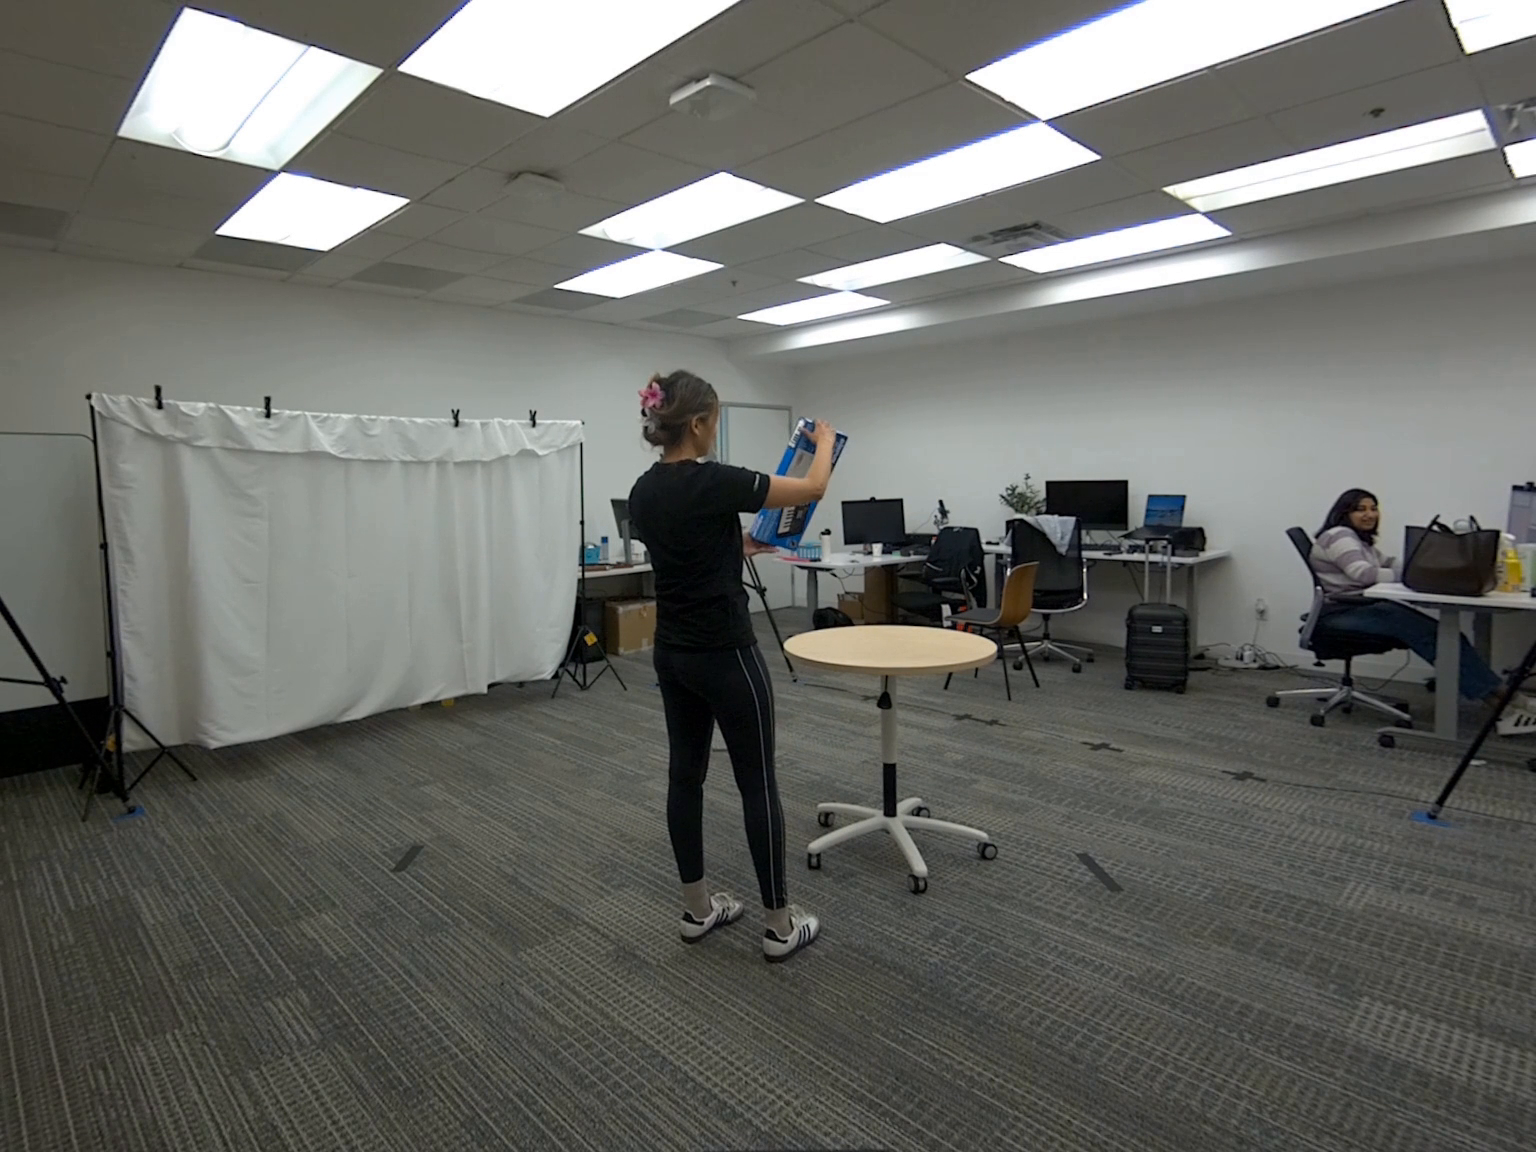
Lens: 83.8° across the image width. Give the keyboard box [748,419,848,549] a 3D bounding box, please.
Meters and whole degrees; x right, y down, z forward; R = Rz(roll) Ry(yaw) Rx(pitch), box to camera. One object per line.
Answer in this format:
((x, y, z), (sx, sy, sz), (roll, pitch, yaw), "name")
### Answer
((0.104, -0.306, 2.907), (0.171, 0.434, 0.061), (17, 14, -25), "keyboard box")
